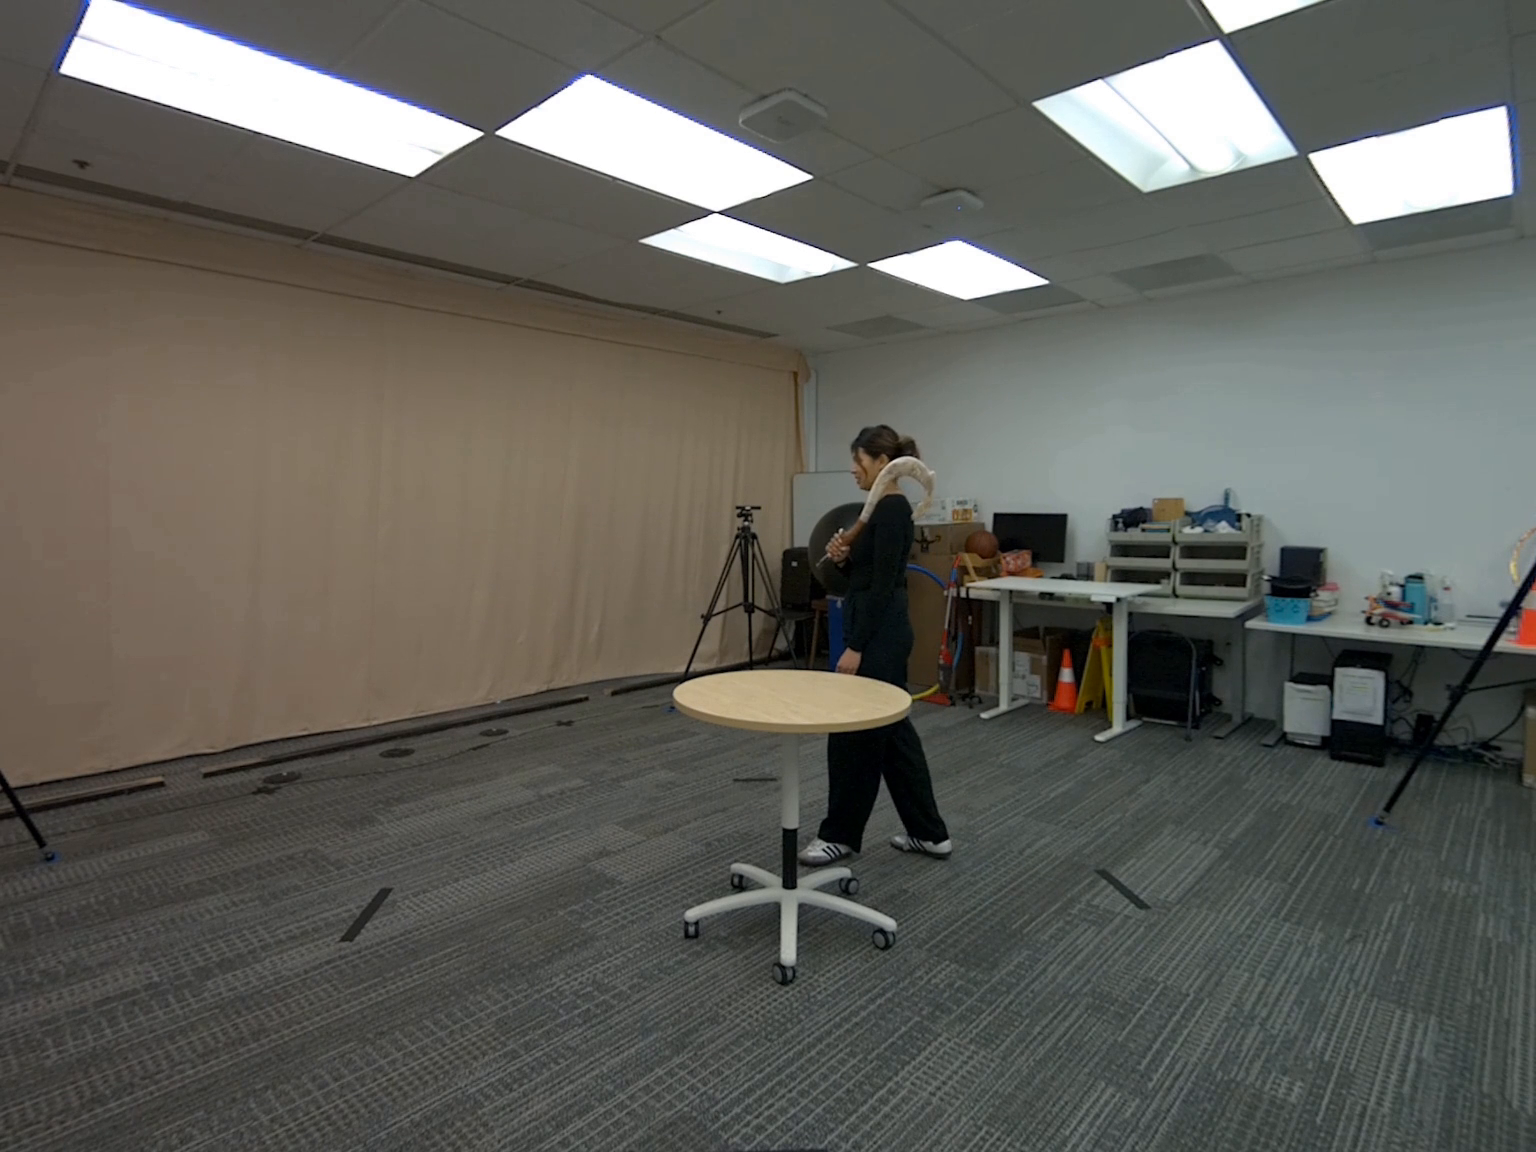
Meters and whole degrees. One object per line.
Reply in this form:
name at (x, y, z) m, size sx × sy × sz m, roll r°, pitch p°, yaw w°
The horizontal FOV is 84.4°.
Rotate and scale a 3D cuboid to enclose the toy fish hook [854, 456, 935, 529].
toy fish hook at (0.441, -0.222, 3.222) m, size 0.226 × 0.508 × 0.048 m, roll 39°, pitch 18°, yaw 6°
